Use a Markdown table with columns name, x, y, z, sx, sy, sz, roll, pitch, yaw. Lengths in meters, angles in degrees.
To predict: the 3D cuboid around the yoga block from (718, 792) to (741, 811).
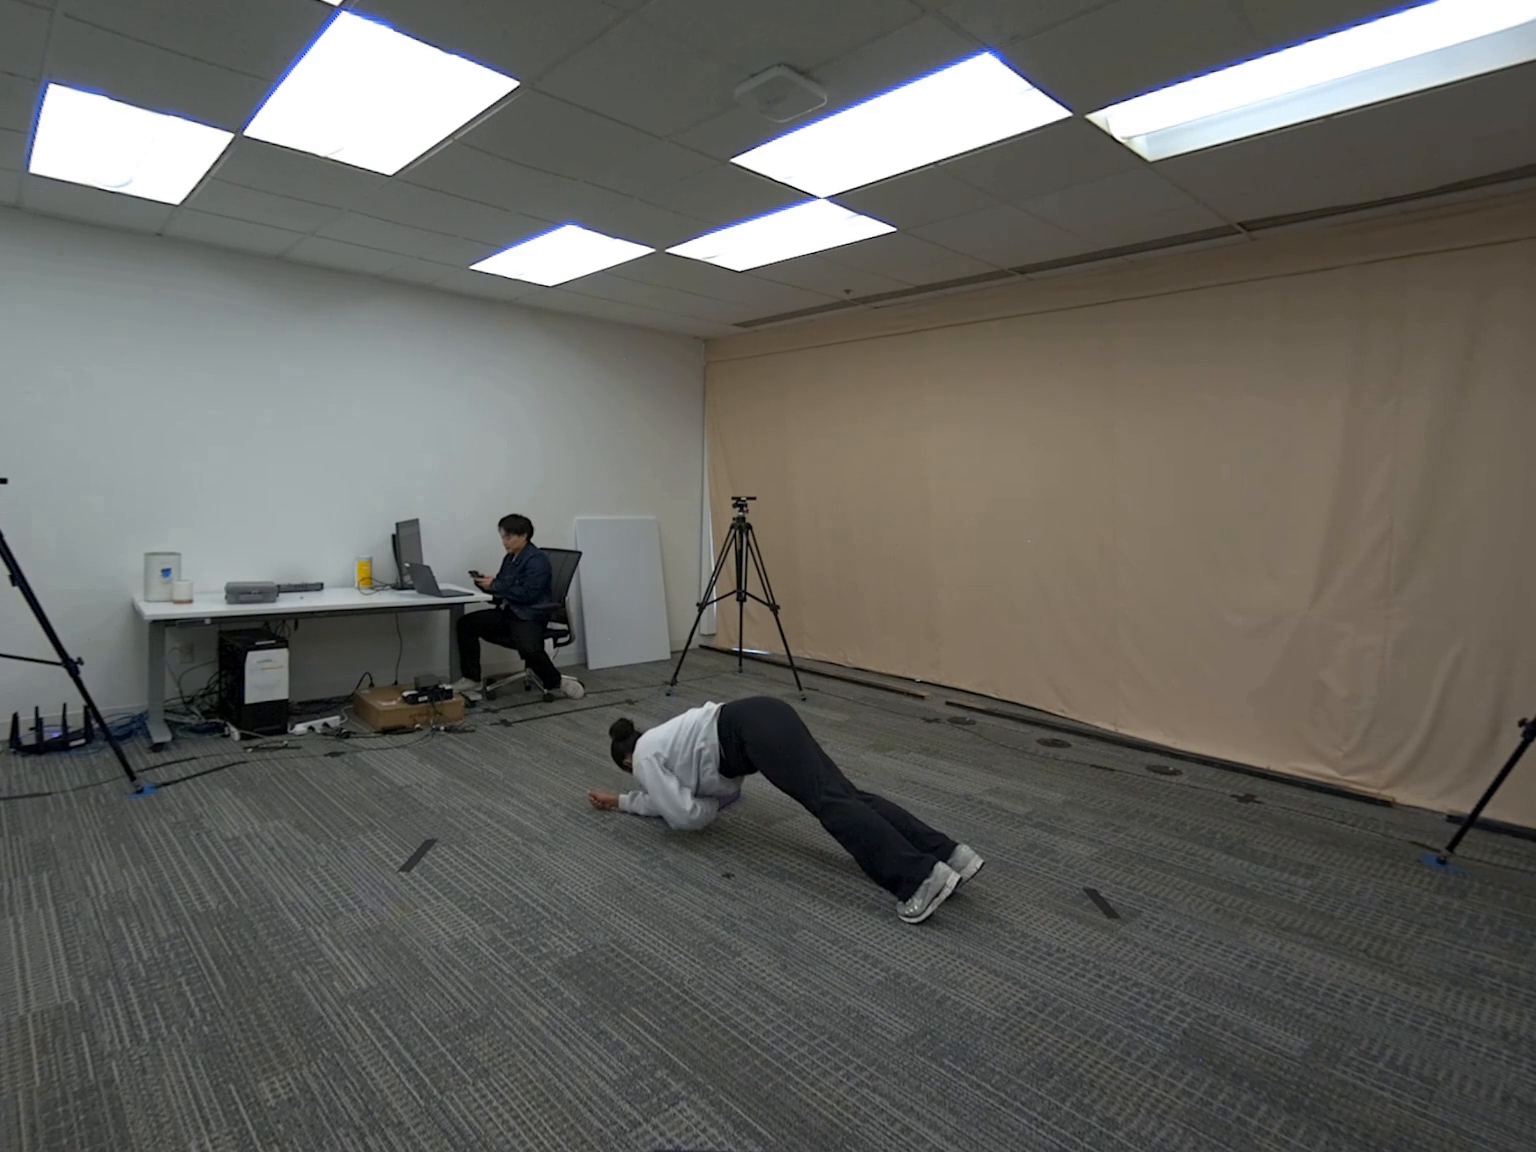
| name | x | y | z | sx | sy | sz | roll | pitch | yaw |
| --- | --- | --- | --- | --- | --- | --- | --- | --- | --- |
| yoga block | -0.248 | 1.002 | 3.885 | 0.152 | 0.076 | 0.225 | 3 | 5 | 26 |
